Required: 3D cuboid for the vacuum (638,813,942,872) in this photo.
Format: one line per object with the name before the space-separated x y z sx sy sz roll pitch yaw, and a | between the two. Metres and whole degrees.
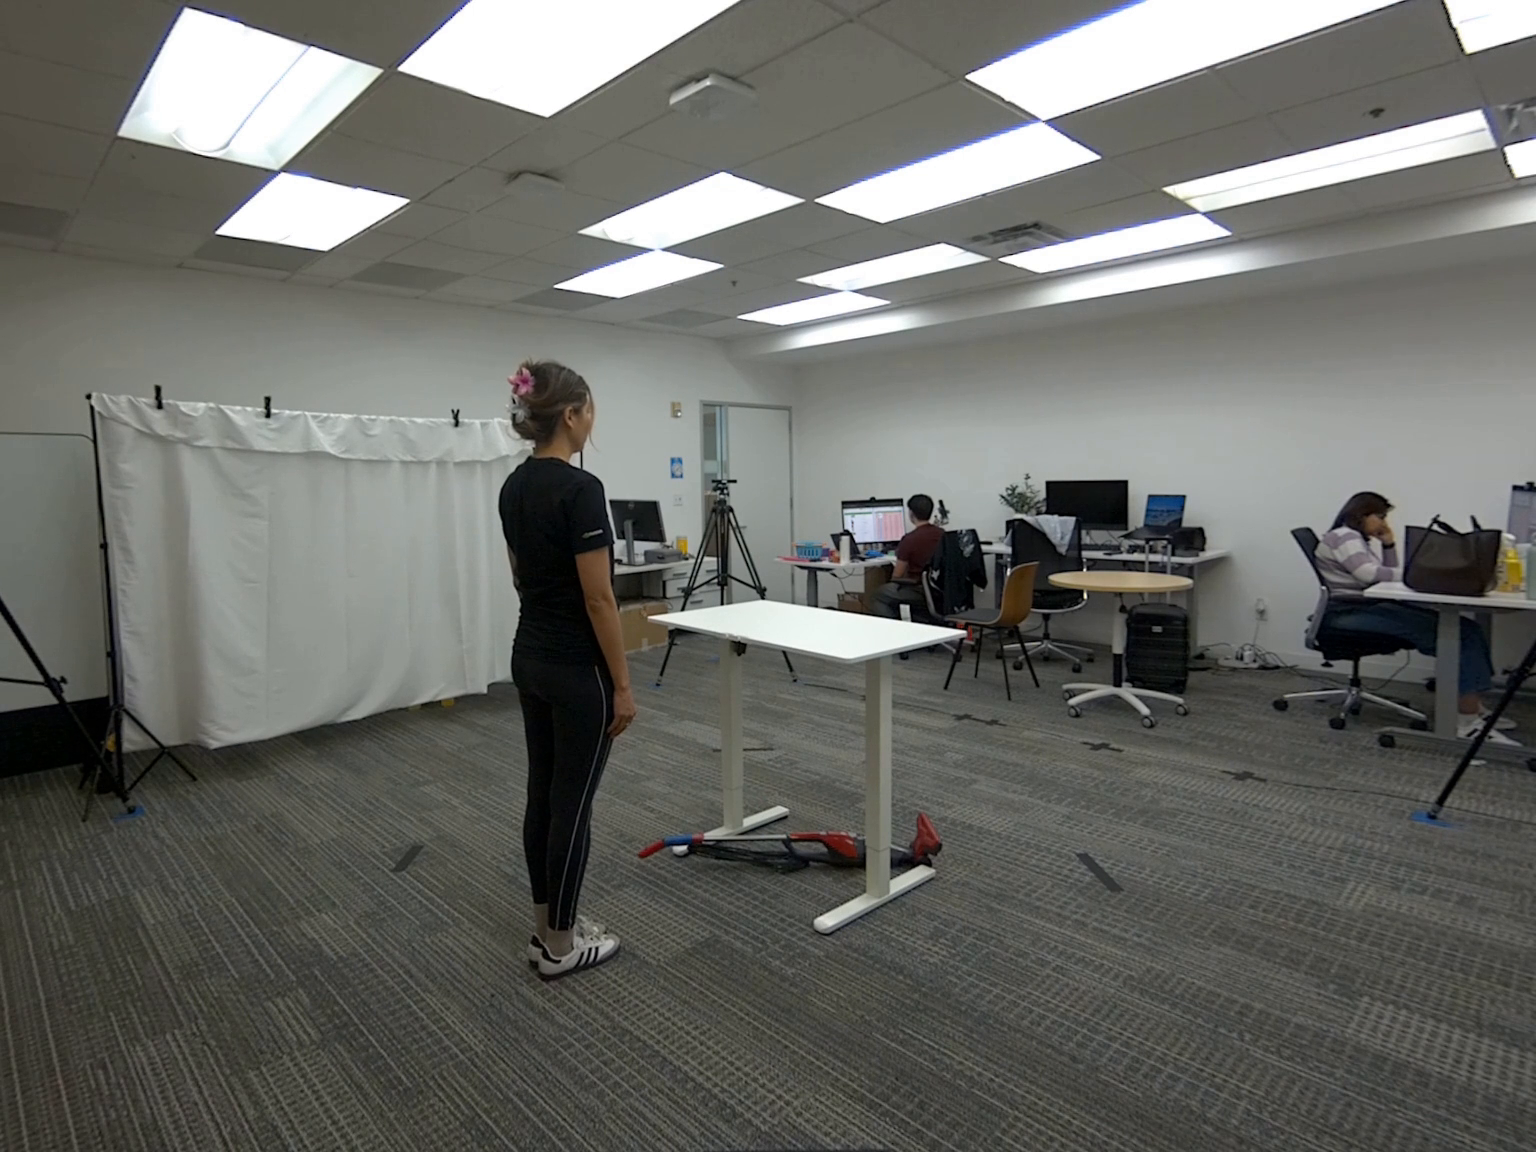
vacuum | 0.061 0.983 3.074 1.048 0.143 0.254 -3 8 -1
